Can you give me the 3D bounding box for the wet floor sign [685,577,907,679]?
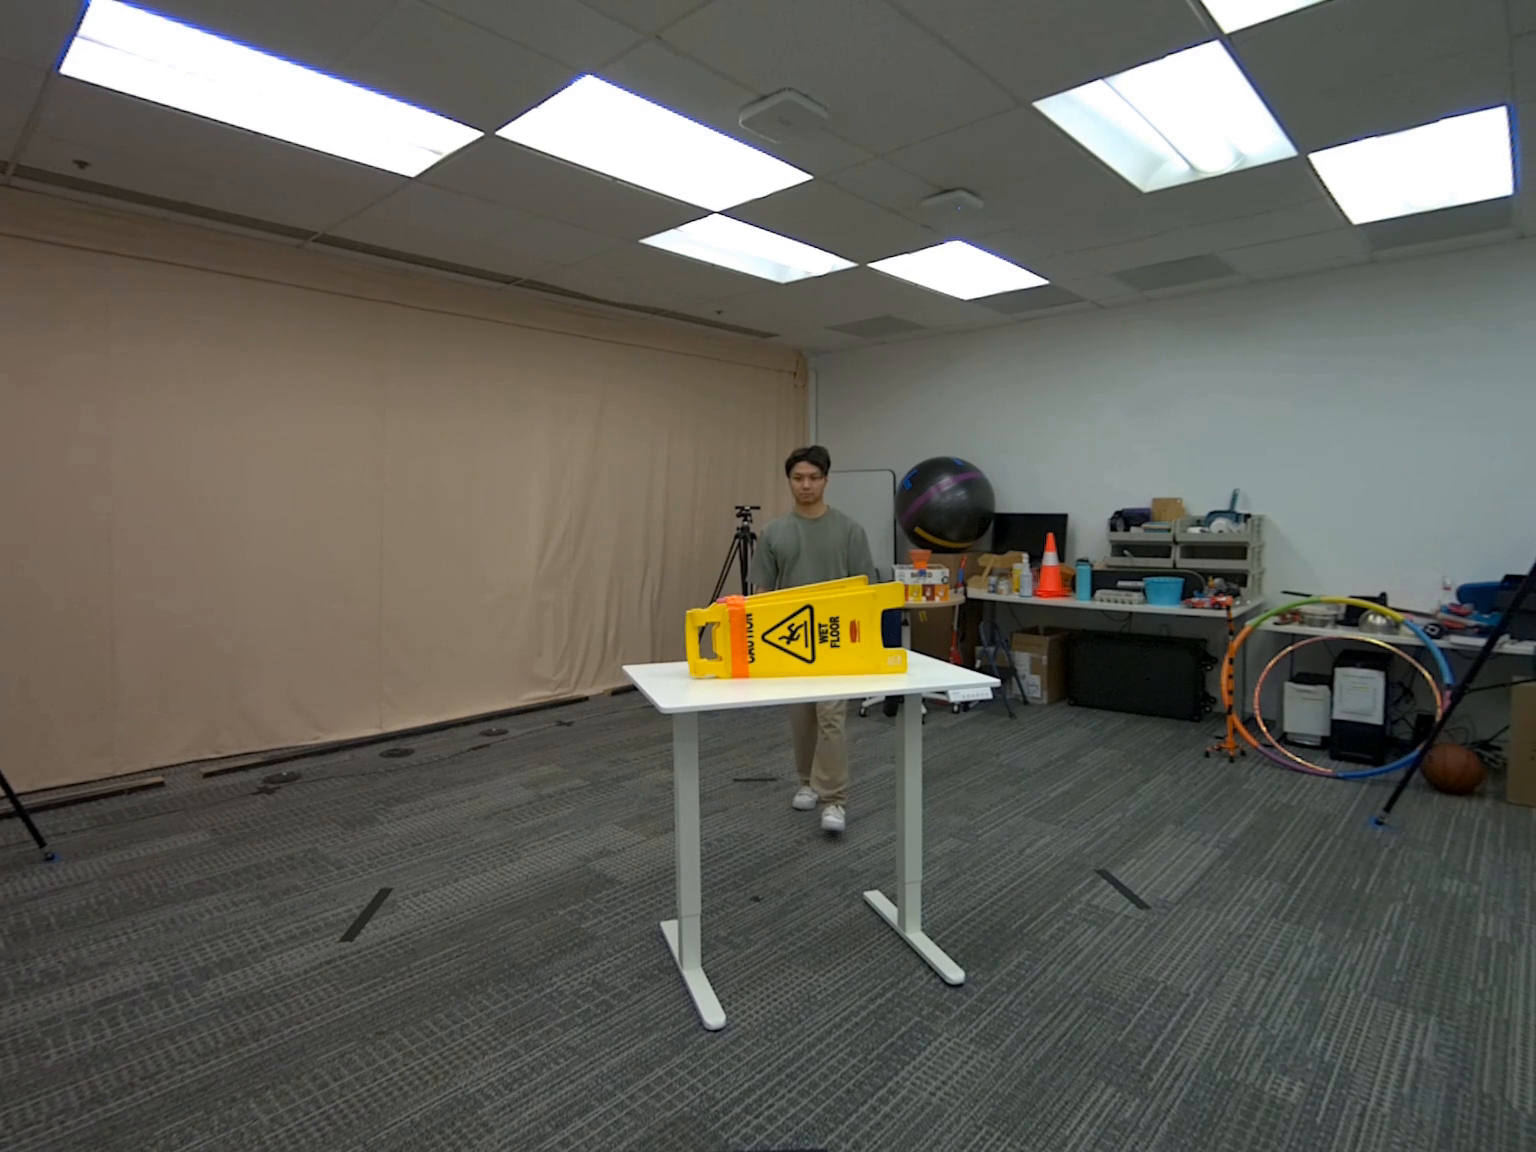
[{"bbox_3d":[0.070,0.176,2.564,0.636,0.281,0.295,-5,4,-16],"label":"wet floor sign"}]
